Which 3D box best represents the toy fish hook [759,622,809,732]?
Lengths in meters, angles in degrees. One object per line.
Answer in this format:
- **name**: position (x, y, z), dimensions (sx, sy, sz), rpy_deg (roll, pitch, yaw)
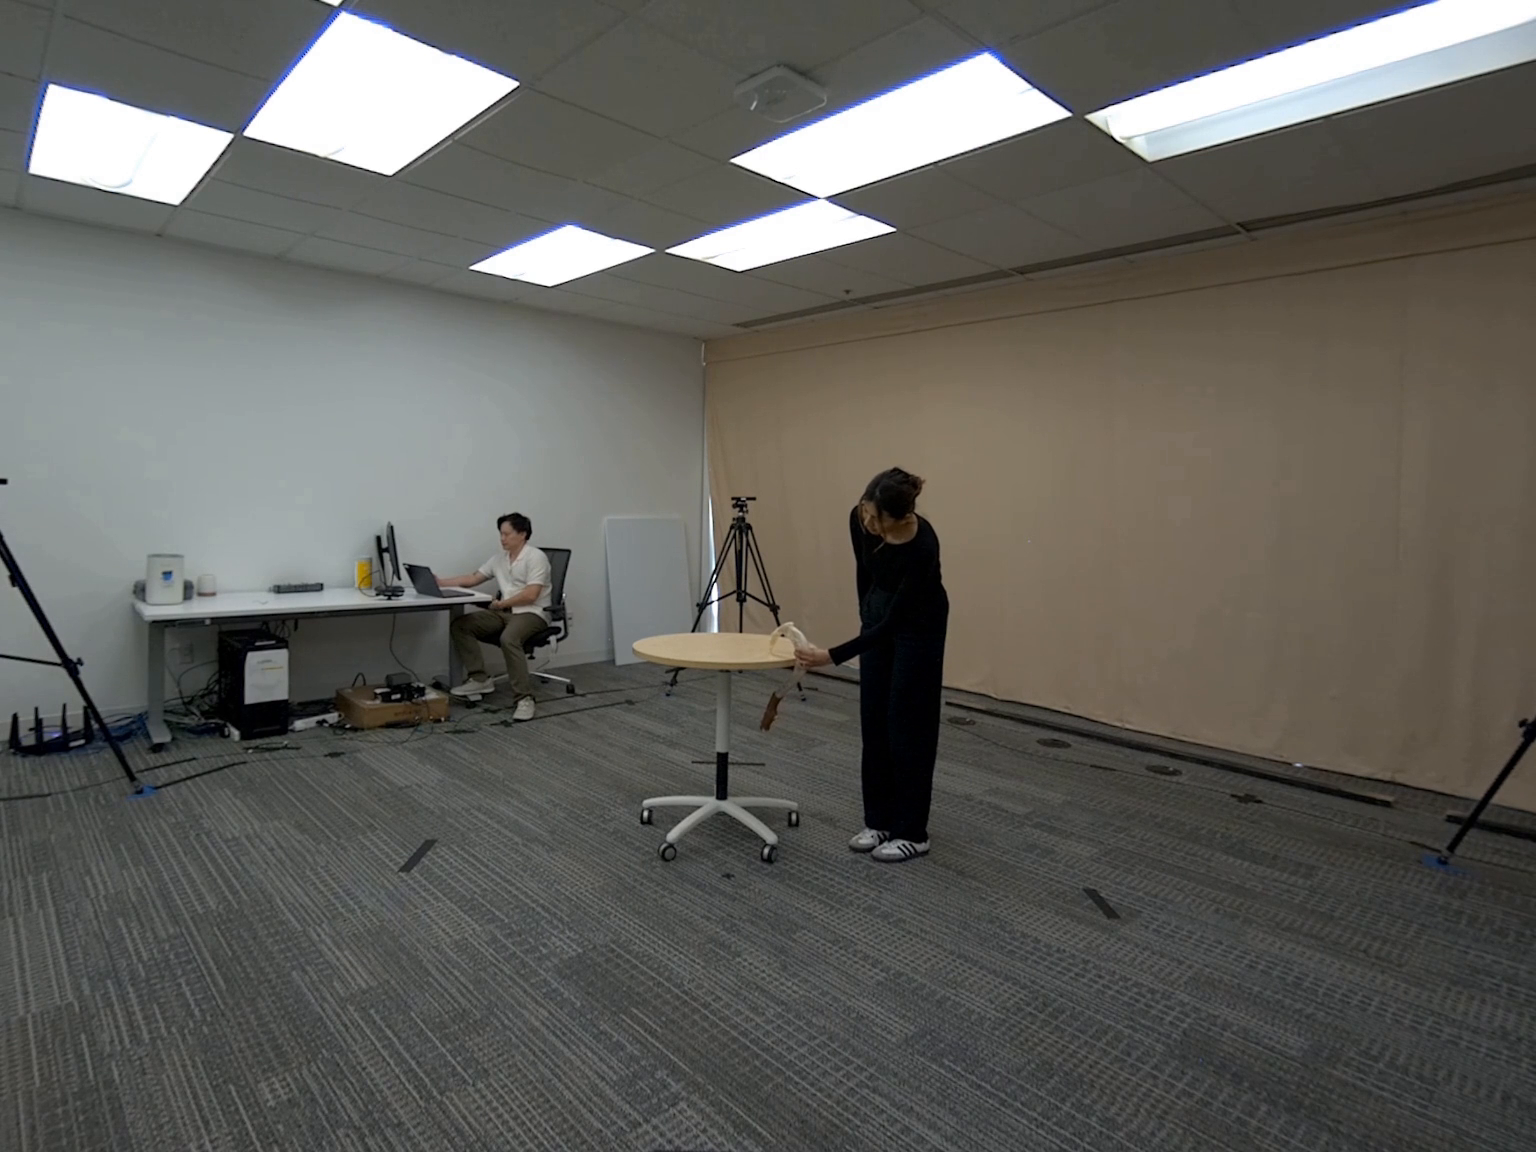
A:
- **toy fish hook**: position (0.036, 0.400, 3.328), dimensions (0.047, 0.501, 0.232), rpy_deg (-2, 41, -34)
